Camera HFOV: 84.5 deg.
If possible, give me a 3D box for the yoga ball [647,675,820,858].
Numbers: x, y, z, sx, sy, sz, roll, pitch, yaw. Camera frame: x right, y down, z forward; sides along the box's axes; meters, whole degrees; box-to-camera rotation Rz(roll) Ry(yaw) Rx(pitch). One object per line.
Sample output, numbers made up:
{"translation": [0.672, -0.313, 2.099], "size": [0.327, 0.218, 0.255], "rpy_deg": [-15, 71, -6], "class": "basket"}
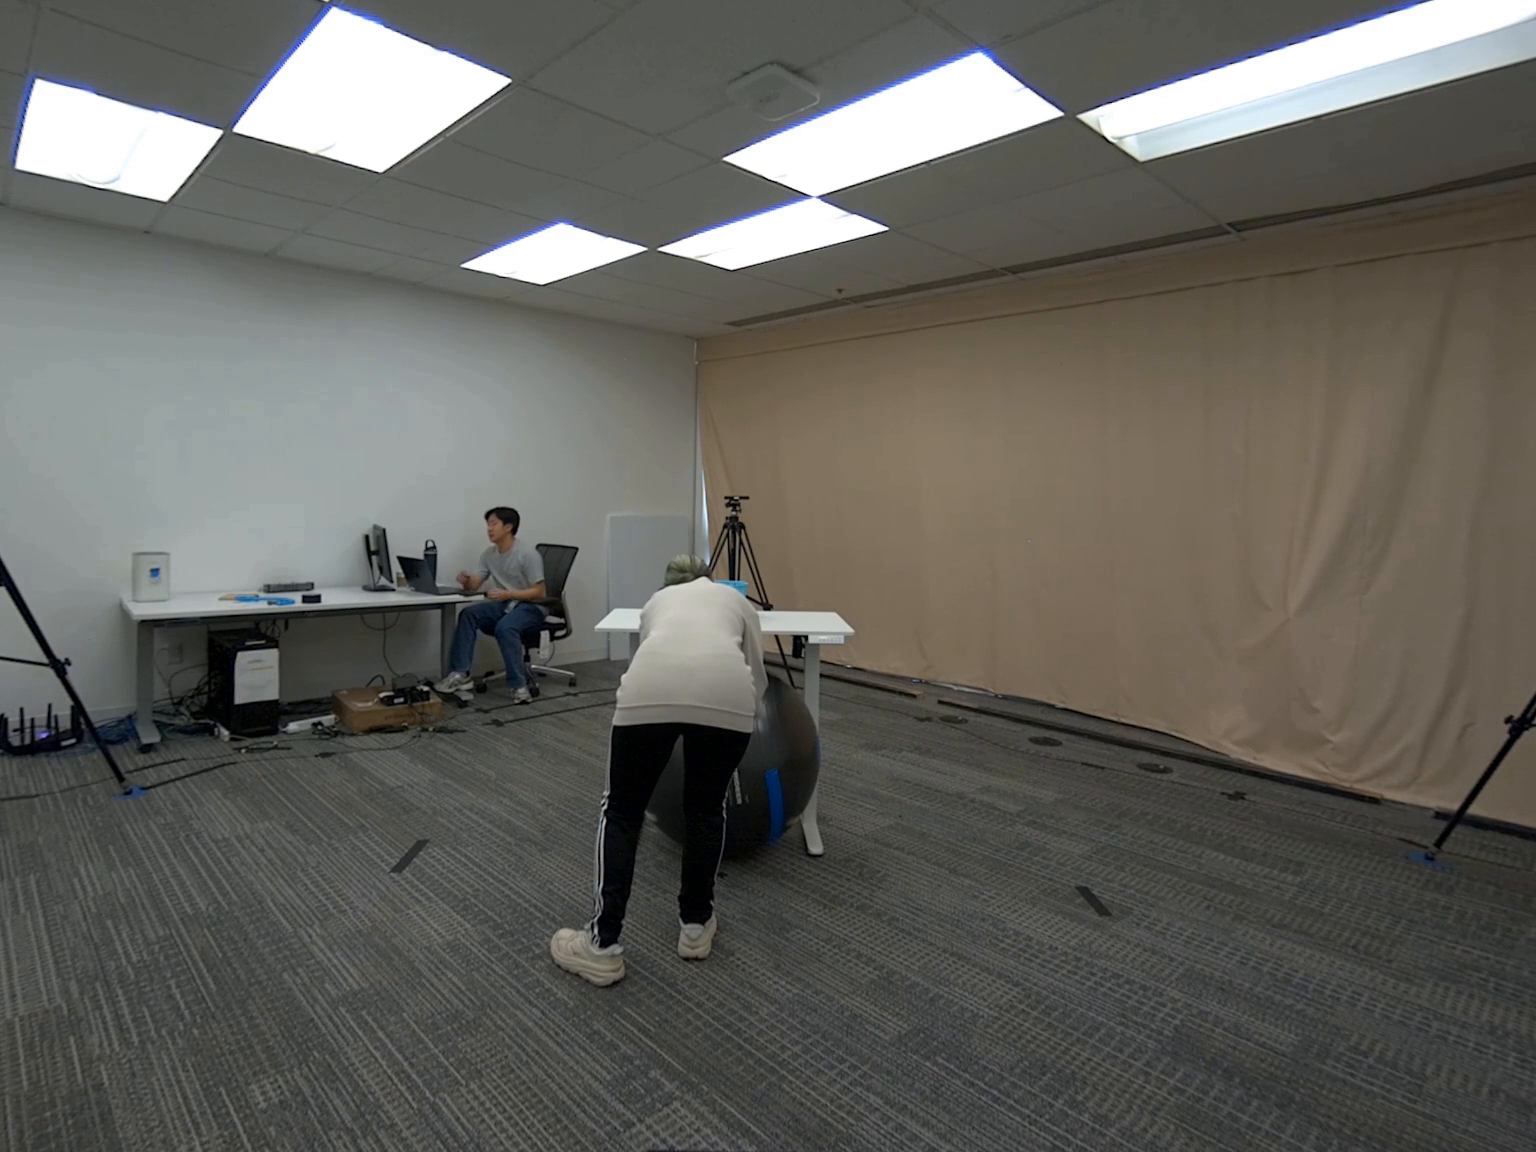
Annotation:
{"translation": [-0.178, 0.709, 3.341], "size": [0.757, 0.756, 0.761], "rpy_deg": [1, 4, -1], "class": "yoga ball"}
